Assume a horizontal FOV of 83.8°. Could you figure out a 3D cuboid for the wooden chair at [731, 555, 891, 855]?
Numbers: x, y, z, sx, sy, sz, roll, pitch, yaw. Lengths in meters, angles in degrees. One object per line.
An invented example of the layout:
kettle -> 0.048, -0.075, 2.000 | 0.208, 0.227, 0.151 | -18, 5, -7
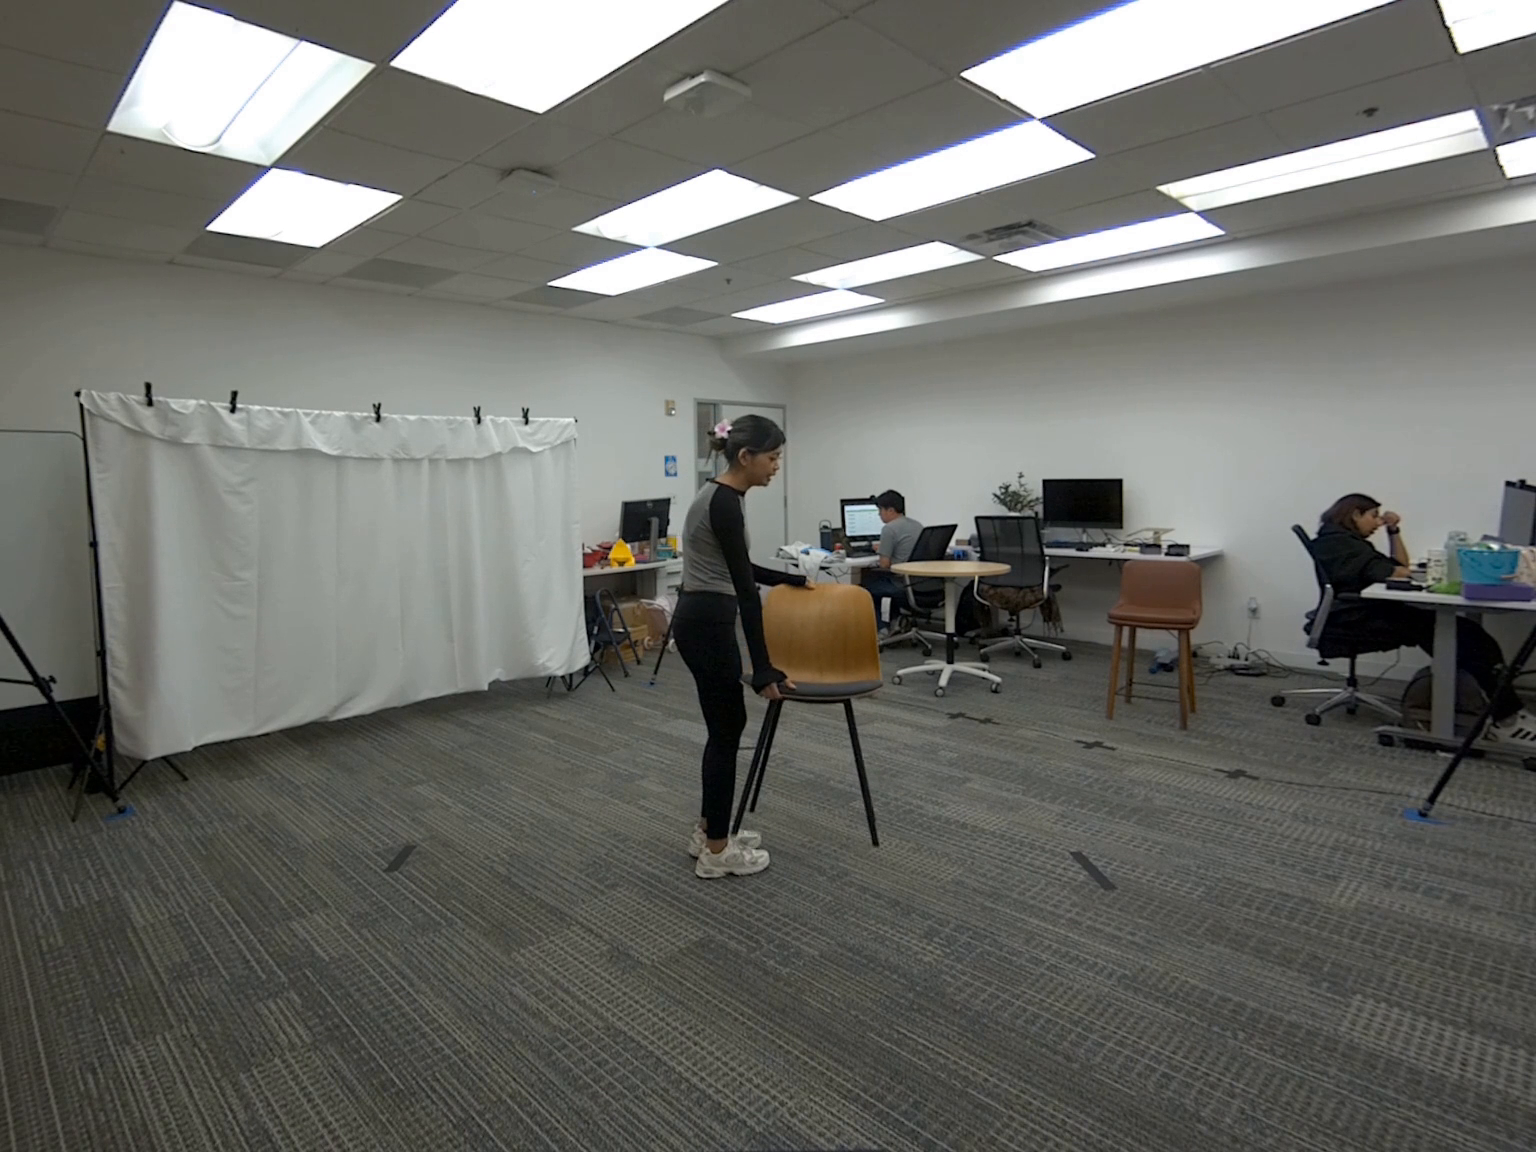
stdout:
wooden chair -> 0.158, 0.415, 2.891 | 0.483, 0.886, 0.512 | 1, -12, 10
